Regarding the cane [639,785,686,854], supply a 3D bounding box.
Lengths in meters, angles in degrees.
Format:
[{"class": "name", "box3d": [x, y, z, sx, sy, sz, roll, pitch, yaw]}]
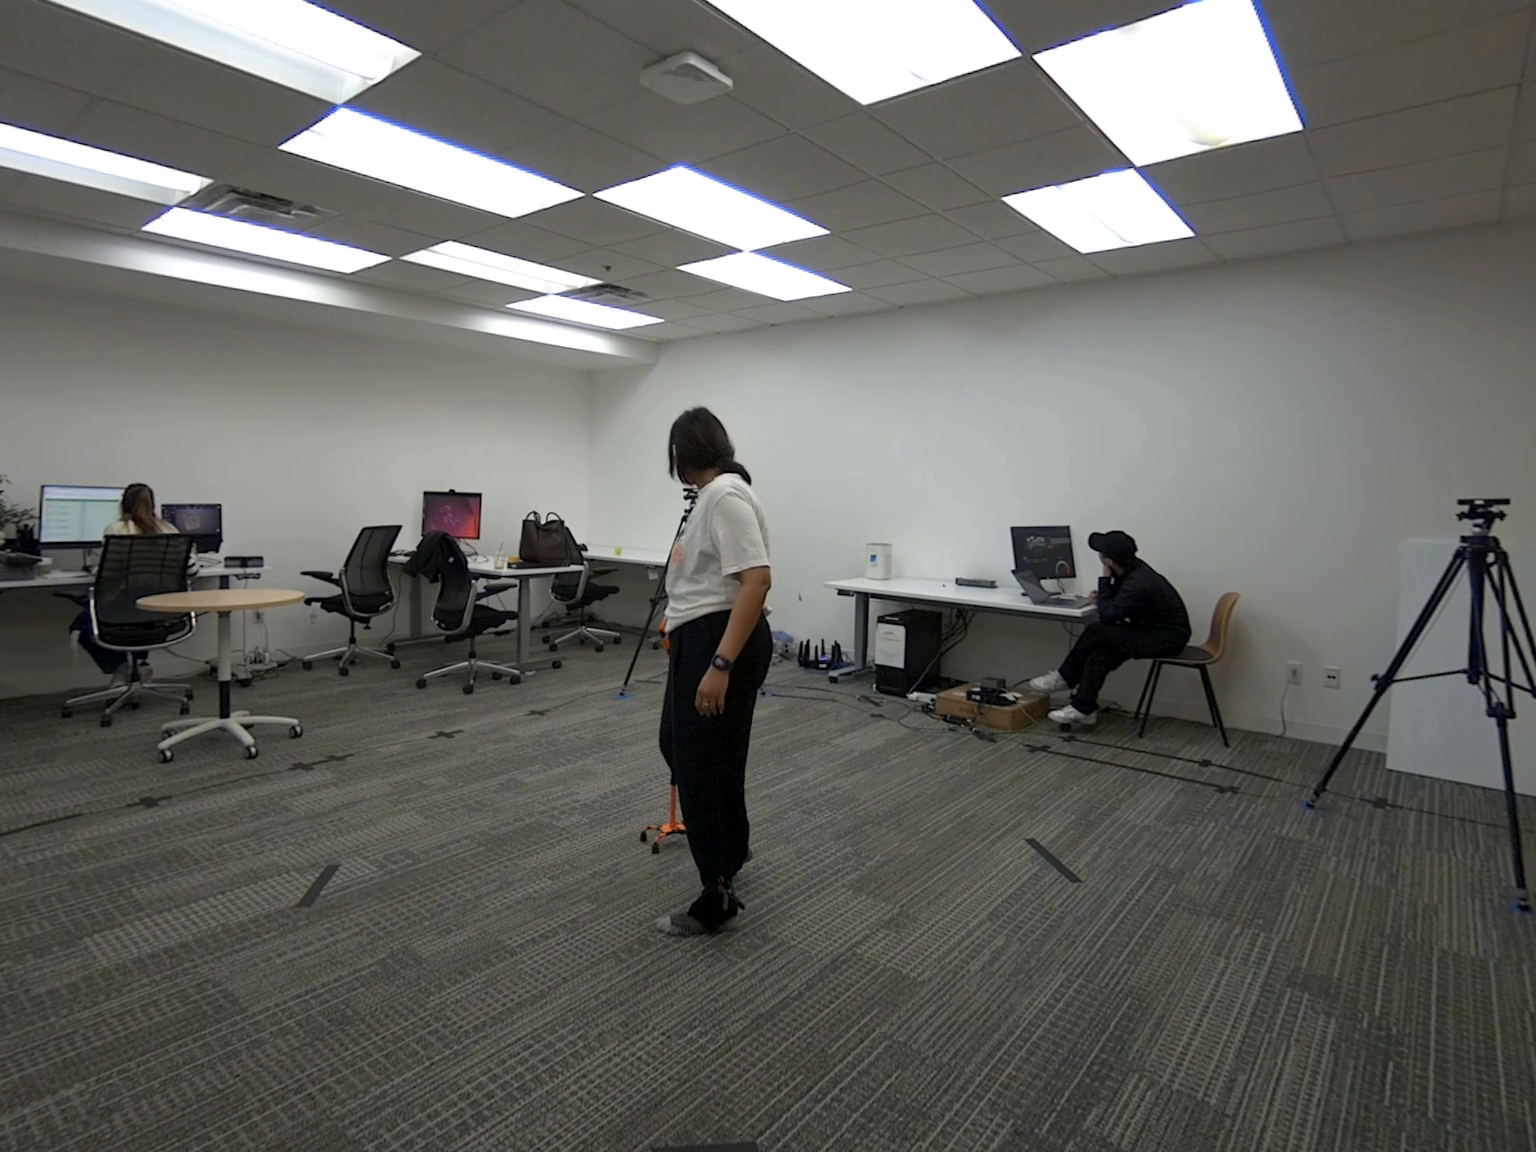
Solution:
[{"class": "cane", "box3d": [-0.383, 0.593, 3.318, 0.201, 0.905, 0.156, -1, 4, -30]}]
